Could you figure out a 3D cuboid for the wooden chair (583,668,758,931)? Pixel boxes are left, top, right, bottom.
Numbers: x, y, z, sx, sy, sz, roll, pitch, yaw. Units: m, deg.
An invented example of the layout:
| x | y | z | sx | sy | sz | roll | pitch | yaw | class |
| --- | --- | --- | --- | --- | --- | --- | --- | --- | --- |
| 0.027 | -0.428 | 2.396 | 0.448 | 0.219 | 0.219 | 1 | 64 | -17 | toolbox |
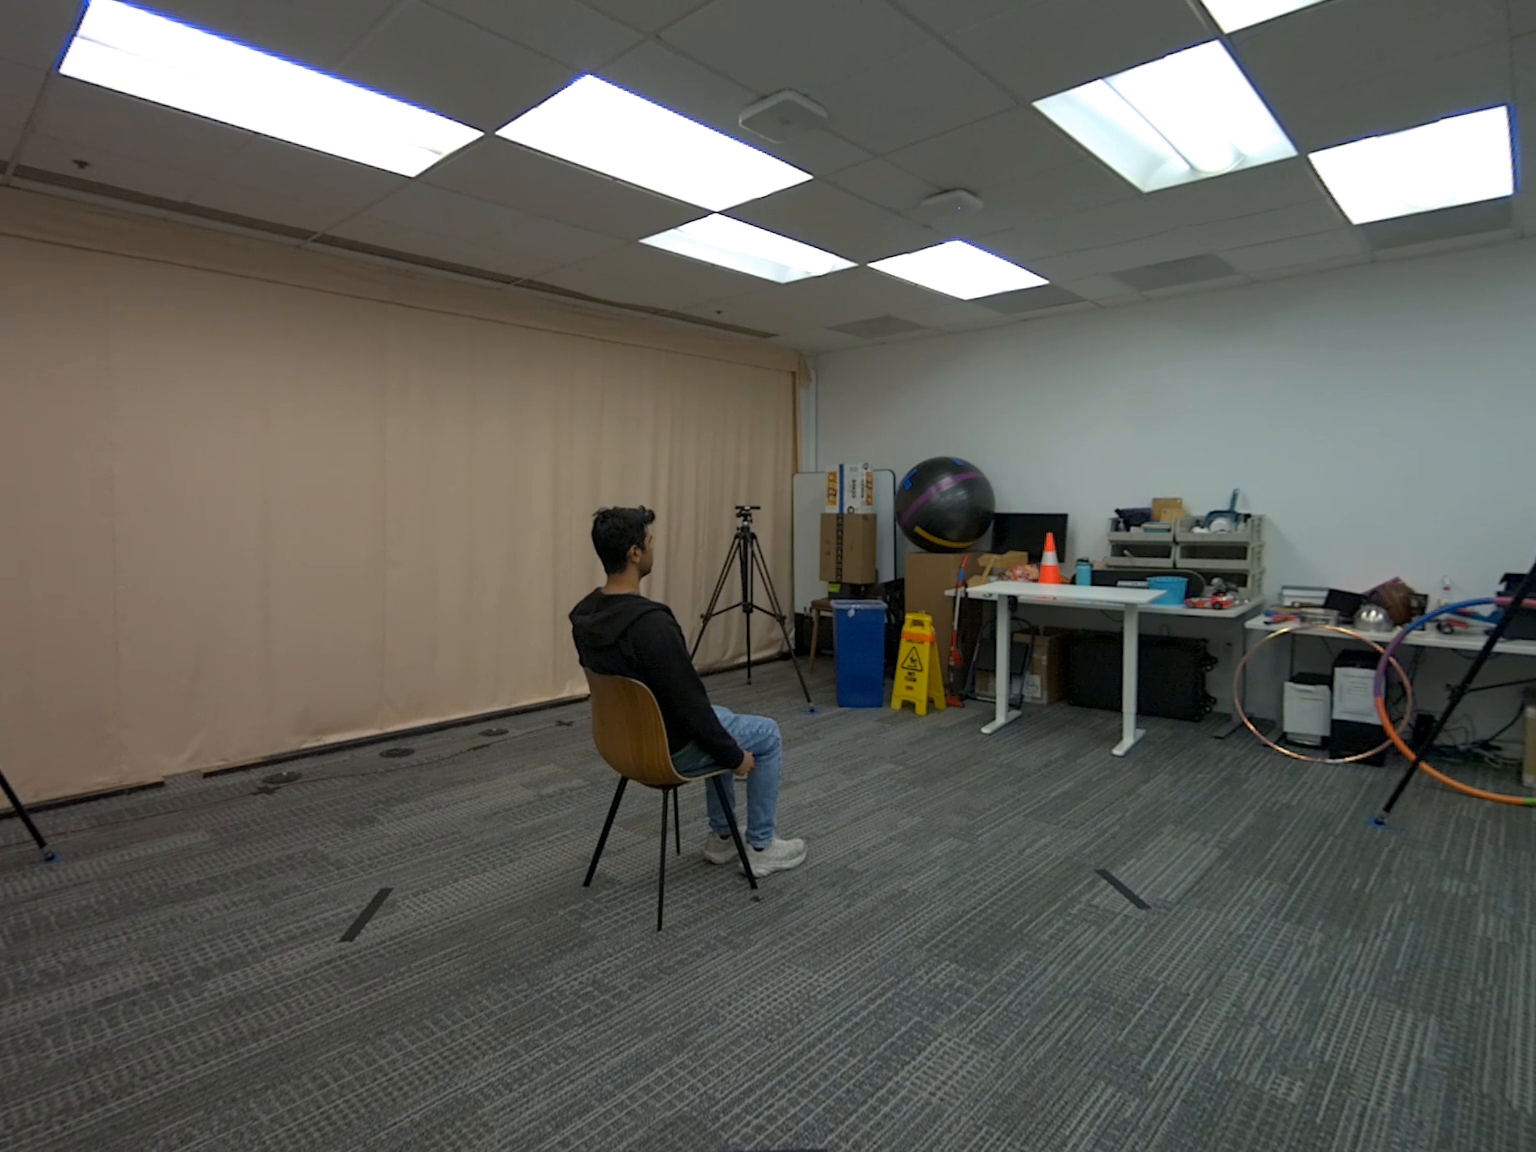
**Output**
| x | y | z | sx | sy | sz | roll | pitch | yaw | class |
| --- | --- | --- | --- | --- | --- | --- | --- | --- | --- |
| -0.355 | 0.711 | 3.058 | 0.508 | 0.874 | 0.494 | -10 | 8 | -43 | wooden chair |
